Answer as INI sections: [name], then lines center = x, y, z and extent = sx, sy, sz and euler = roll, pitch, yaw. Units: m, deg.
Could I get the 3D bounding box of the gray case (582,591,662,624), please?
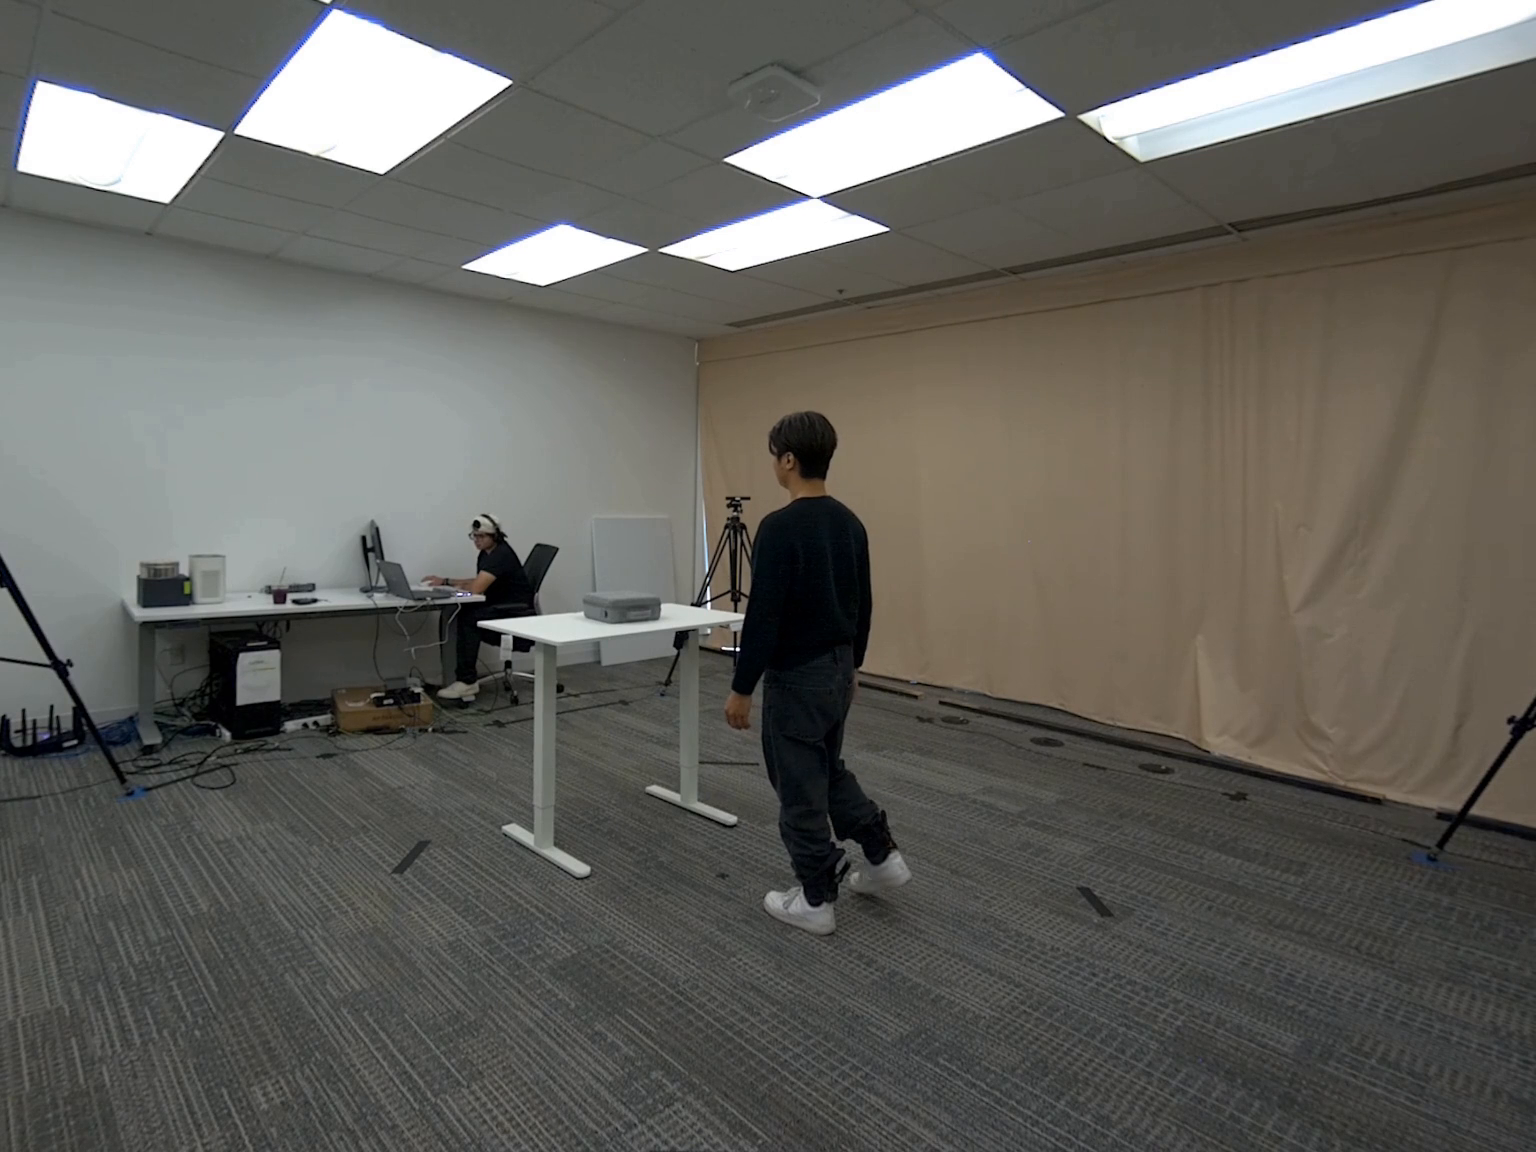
[gray case]
center = -0.615, 0.126, 3.511
extent = 0.251, 0.104, 0.267
euler = -2, 6, -40
